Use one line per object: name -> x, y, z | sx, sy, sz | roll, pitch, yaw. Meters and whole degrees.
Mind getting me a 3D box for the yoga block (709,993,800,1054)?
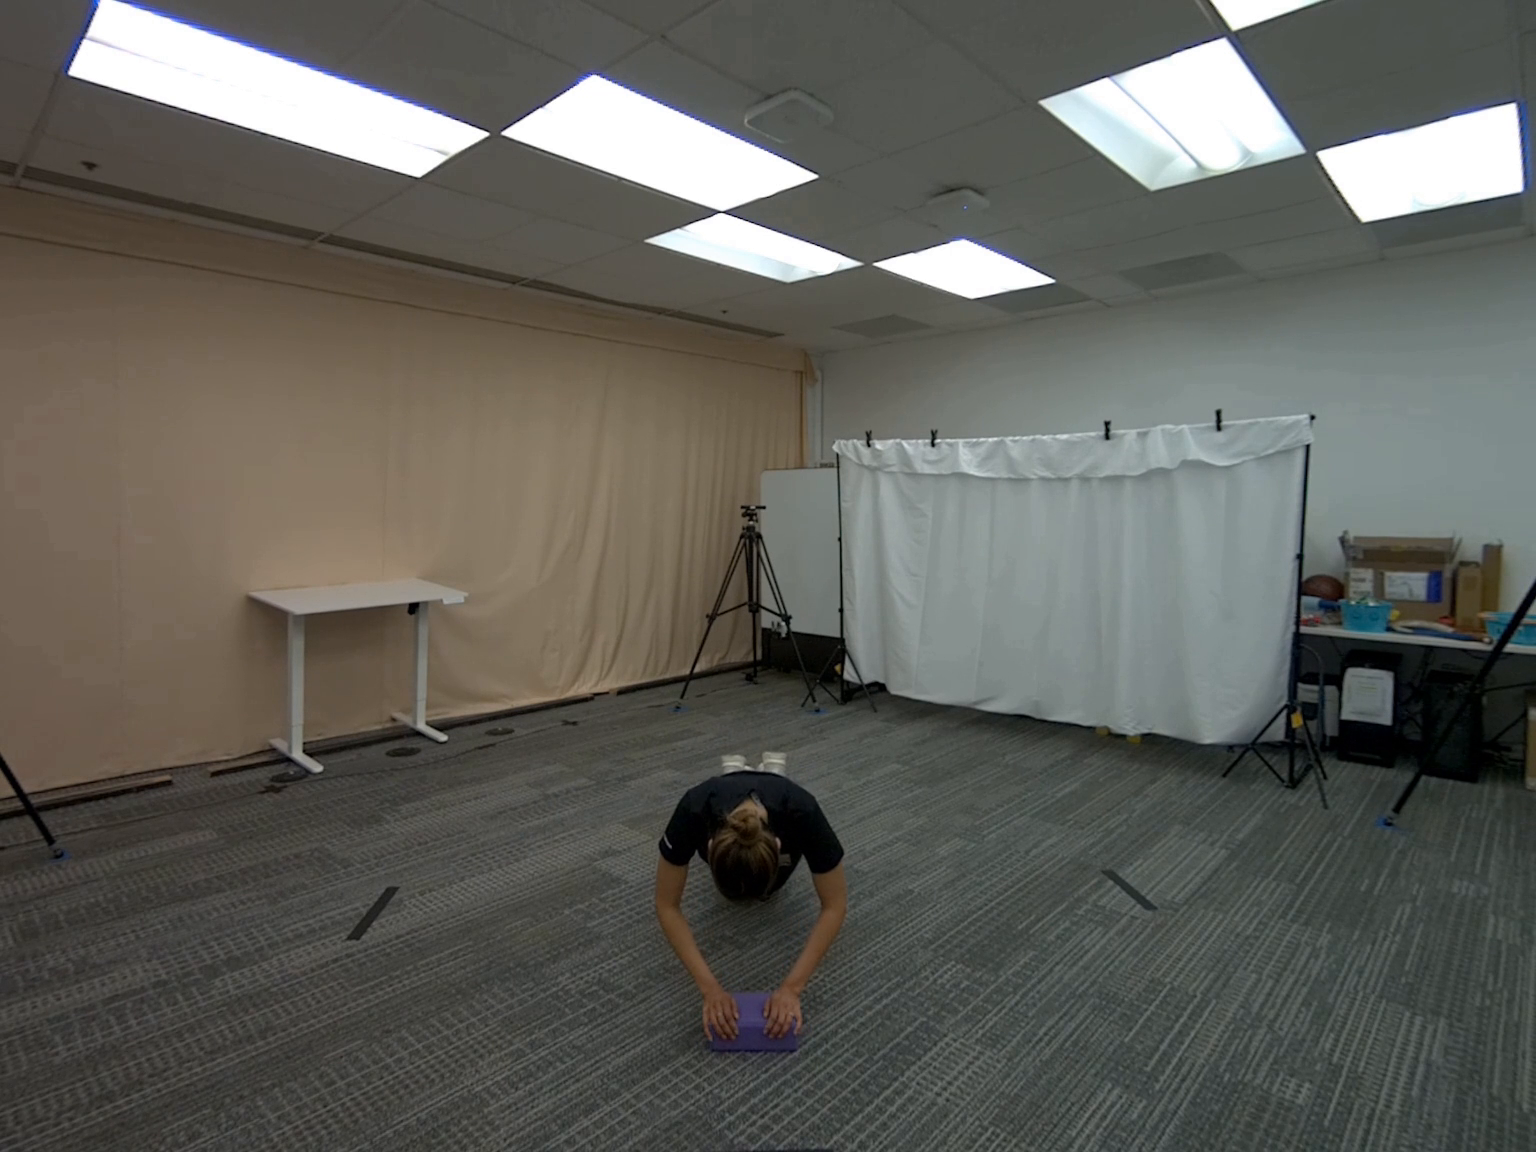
yoga block -> -0.040, 1.161, 2.220 | 0.229, 0.076, 0.150 | -1, 9, -1
